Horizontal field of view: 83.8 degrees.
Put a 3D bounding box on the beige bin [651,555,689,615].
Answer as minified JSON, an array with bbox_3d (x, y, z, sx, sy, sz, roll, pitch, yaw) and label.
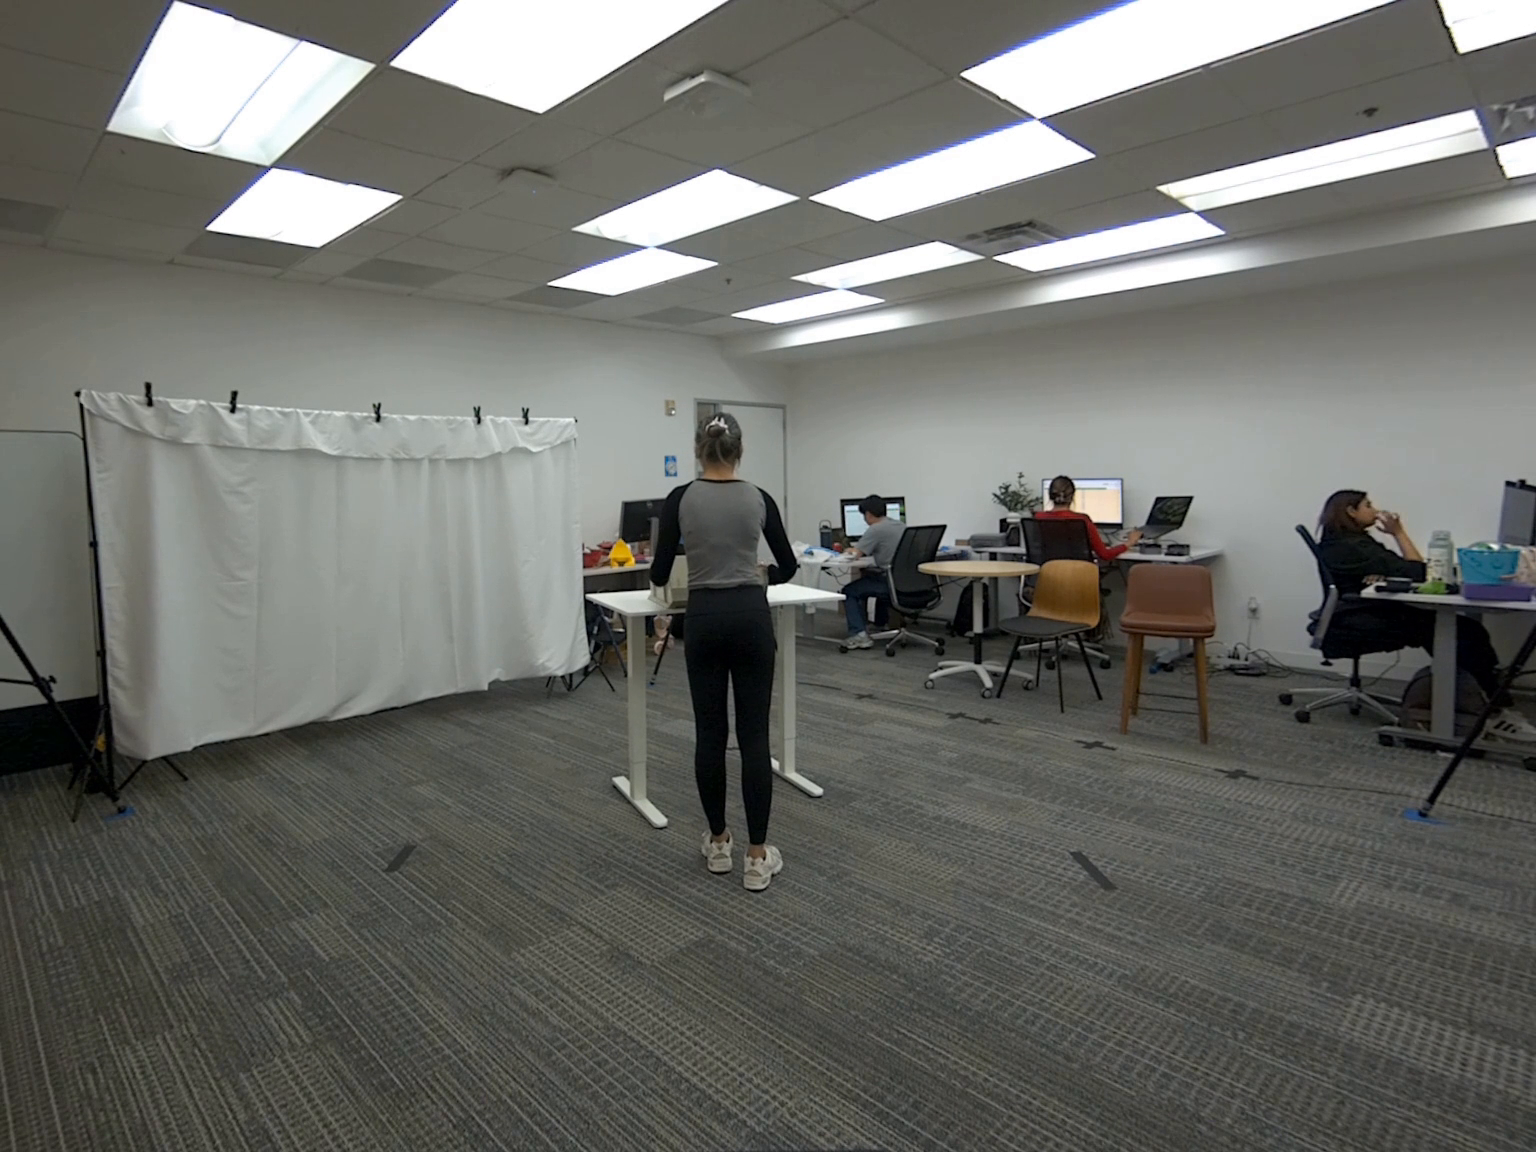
[{"bbox_3d":[-0.263,0.021,3.589,0.415,0.188,0.386,-3,5,-21],"label":"beige bin"}]
